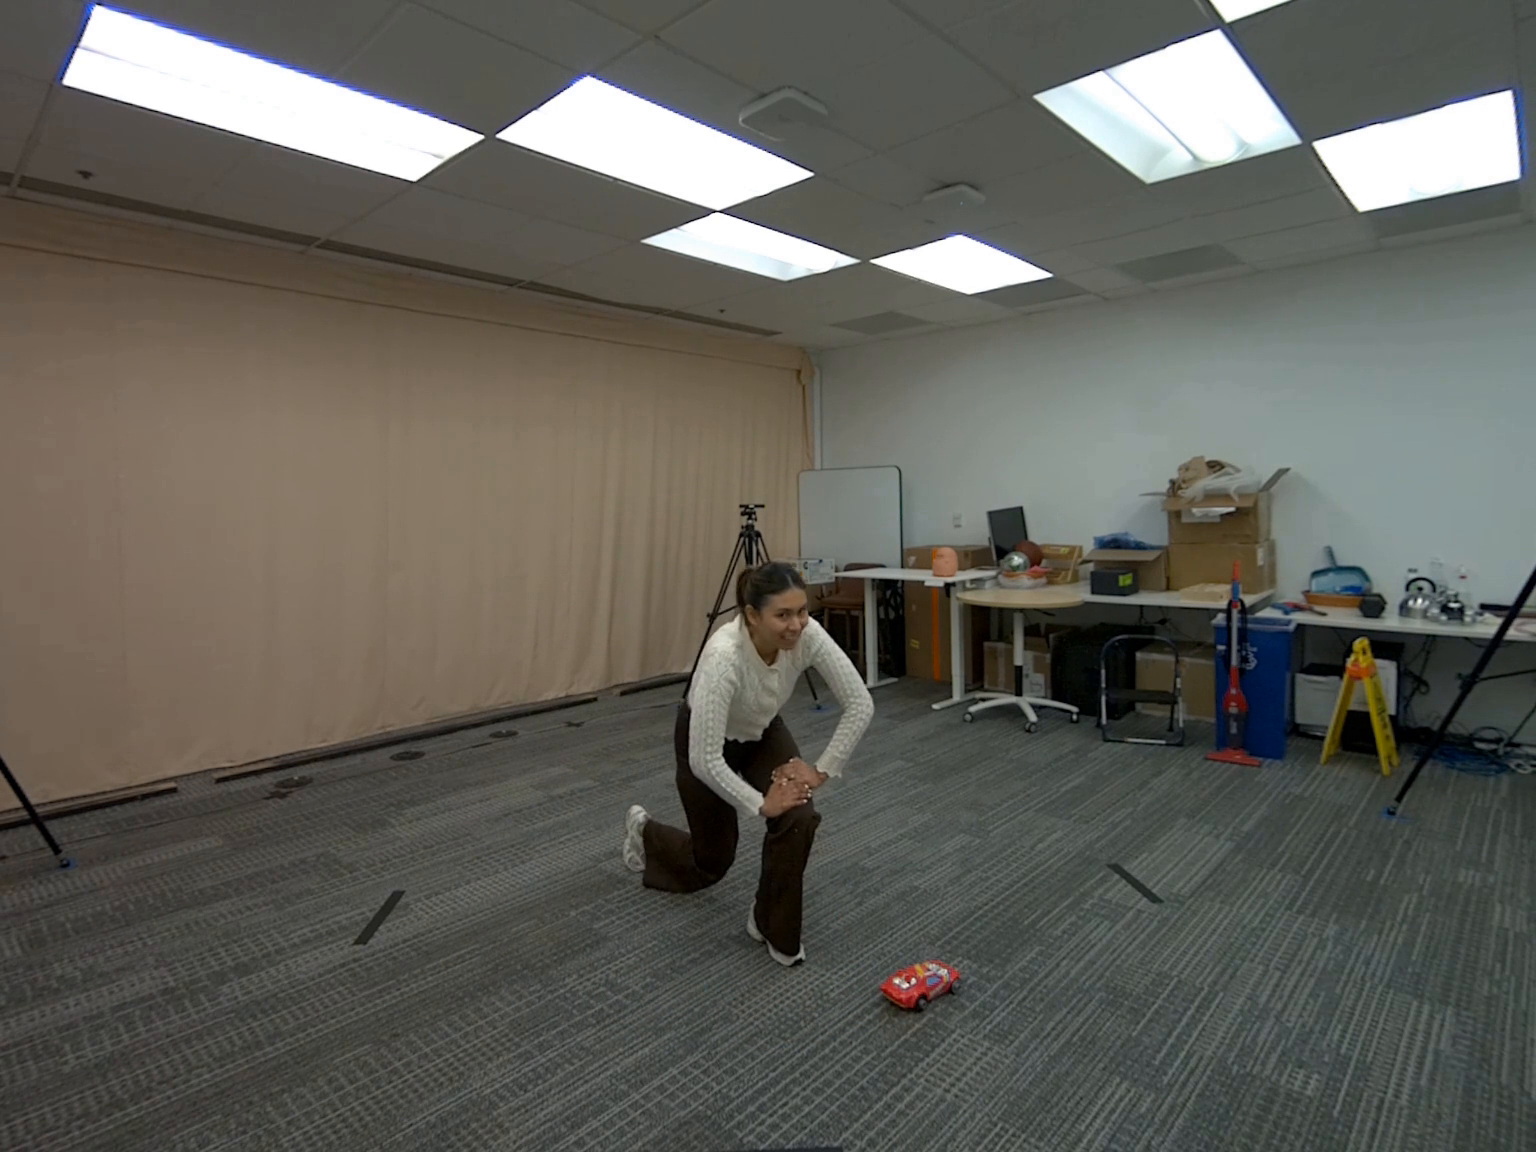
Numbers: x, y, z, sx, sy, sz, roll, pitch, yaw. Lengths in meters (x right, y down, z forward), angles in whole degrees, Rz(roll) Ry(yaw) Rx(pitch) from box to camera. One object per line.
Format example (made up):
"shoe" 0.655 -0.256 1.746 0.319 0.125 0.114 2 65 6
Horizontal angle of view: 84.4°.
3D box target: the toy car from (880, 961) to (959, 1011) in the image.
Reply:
"toy car" 0.430 1.152 2.370 0.246 0.083 0.134 10 -2 -35
